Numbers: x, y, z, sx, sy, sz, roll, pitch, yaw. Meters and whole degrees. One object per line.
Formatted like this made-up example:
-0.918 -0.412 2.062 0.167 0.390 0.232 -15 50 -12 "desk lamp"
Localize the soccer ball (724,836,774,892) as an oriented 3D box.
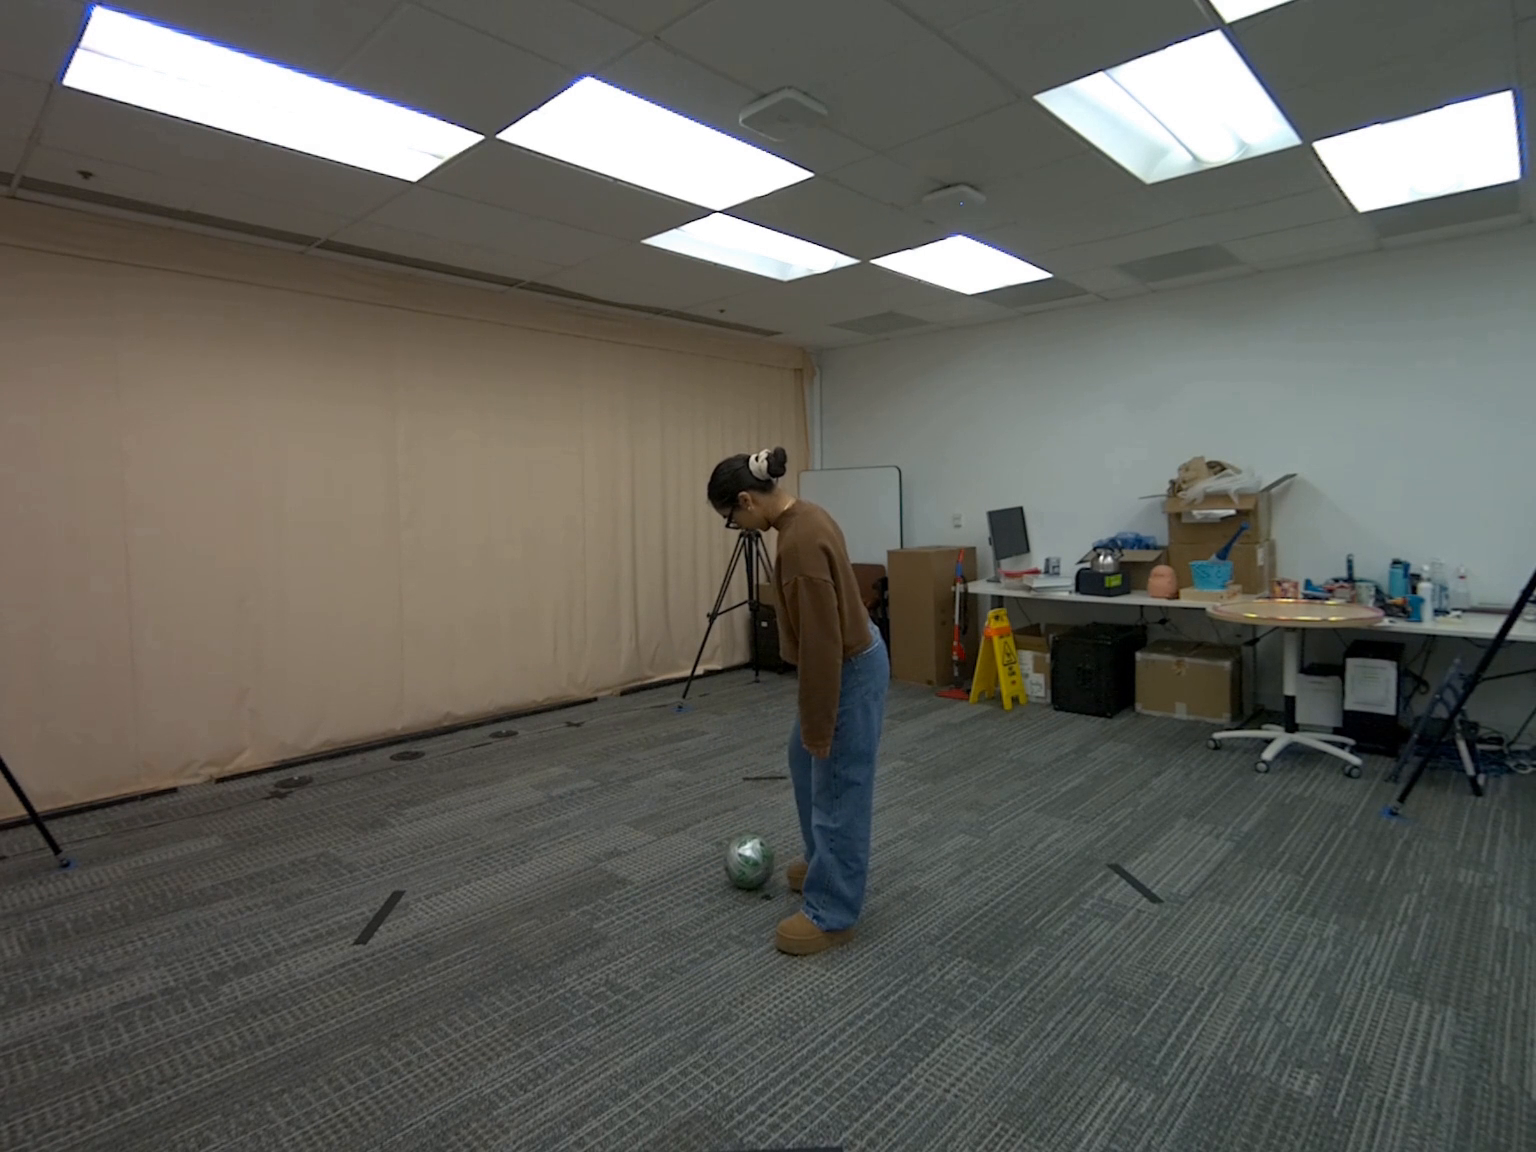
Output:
-0.067 1.040 3.067 0.187 0.187 0.188 -1 4 -2 "soccer ball"
